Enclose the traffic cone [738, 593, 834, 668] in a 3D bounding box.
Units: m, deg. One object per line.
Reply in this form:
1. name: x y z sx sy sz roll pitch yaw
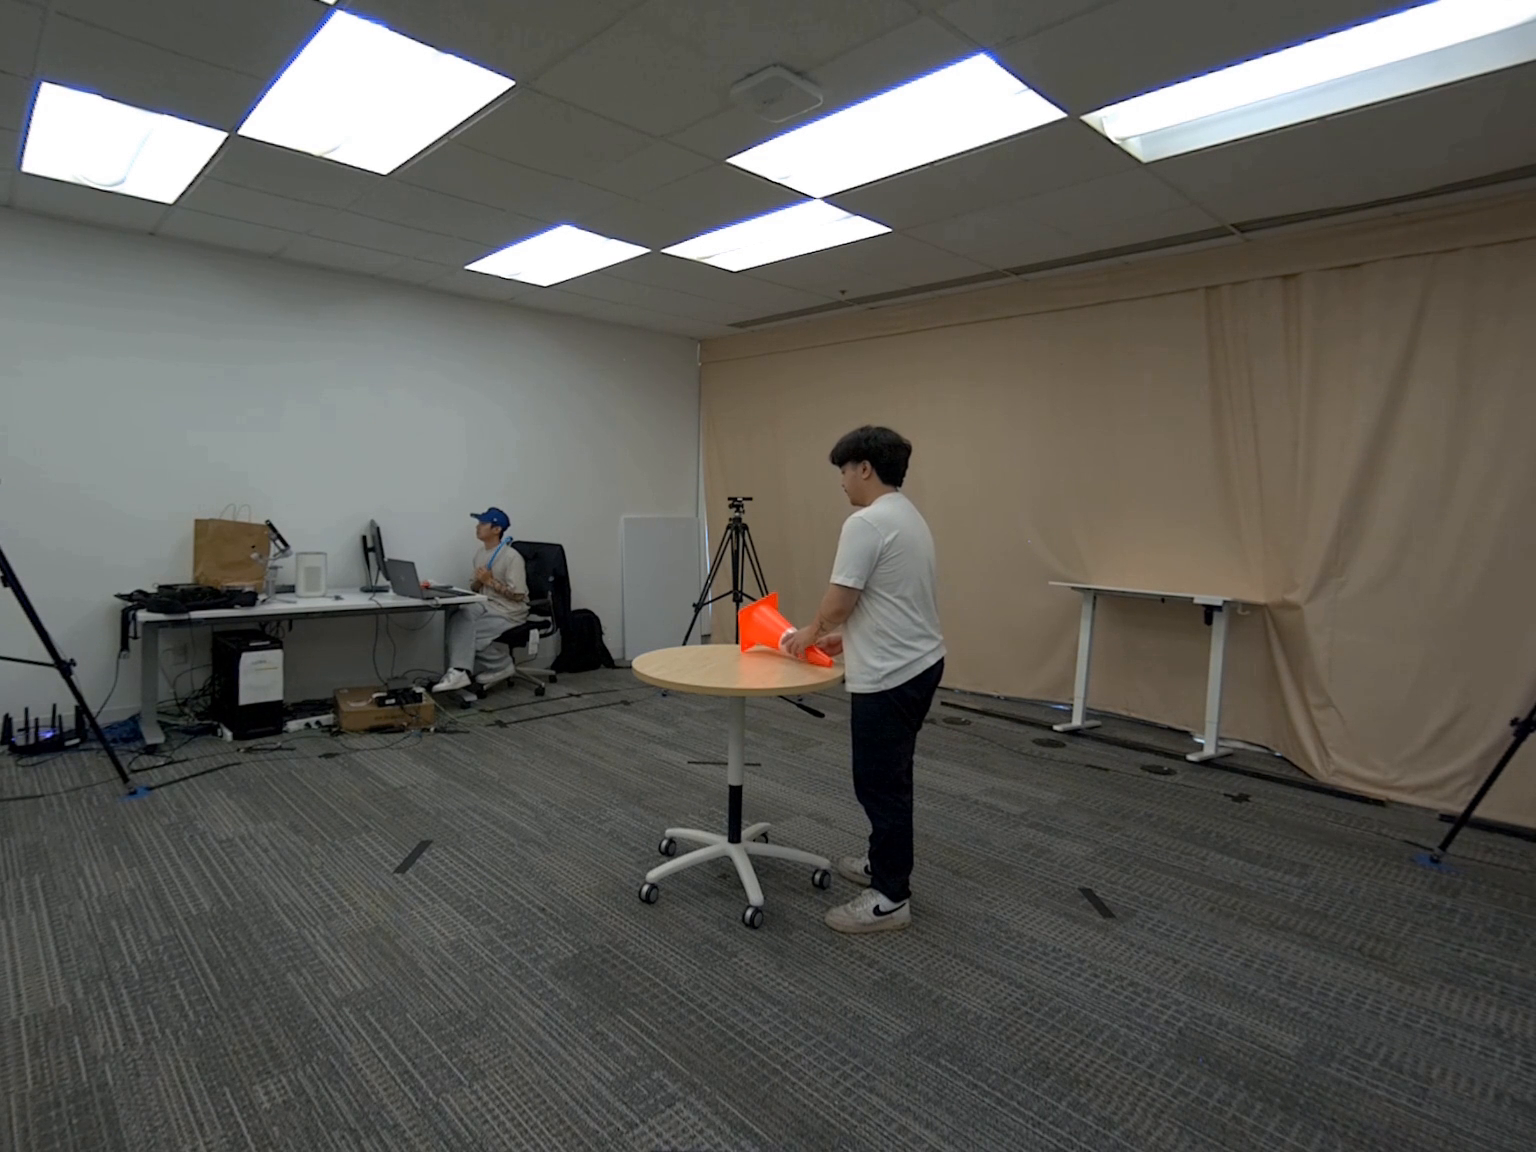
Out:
1. traffic cone: 0.084 0.248 3.137 0.201 0.201 0.396 -27 37 -33
